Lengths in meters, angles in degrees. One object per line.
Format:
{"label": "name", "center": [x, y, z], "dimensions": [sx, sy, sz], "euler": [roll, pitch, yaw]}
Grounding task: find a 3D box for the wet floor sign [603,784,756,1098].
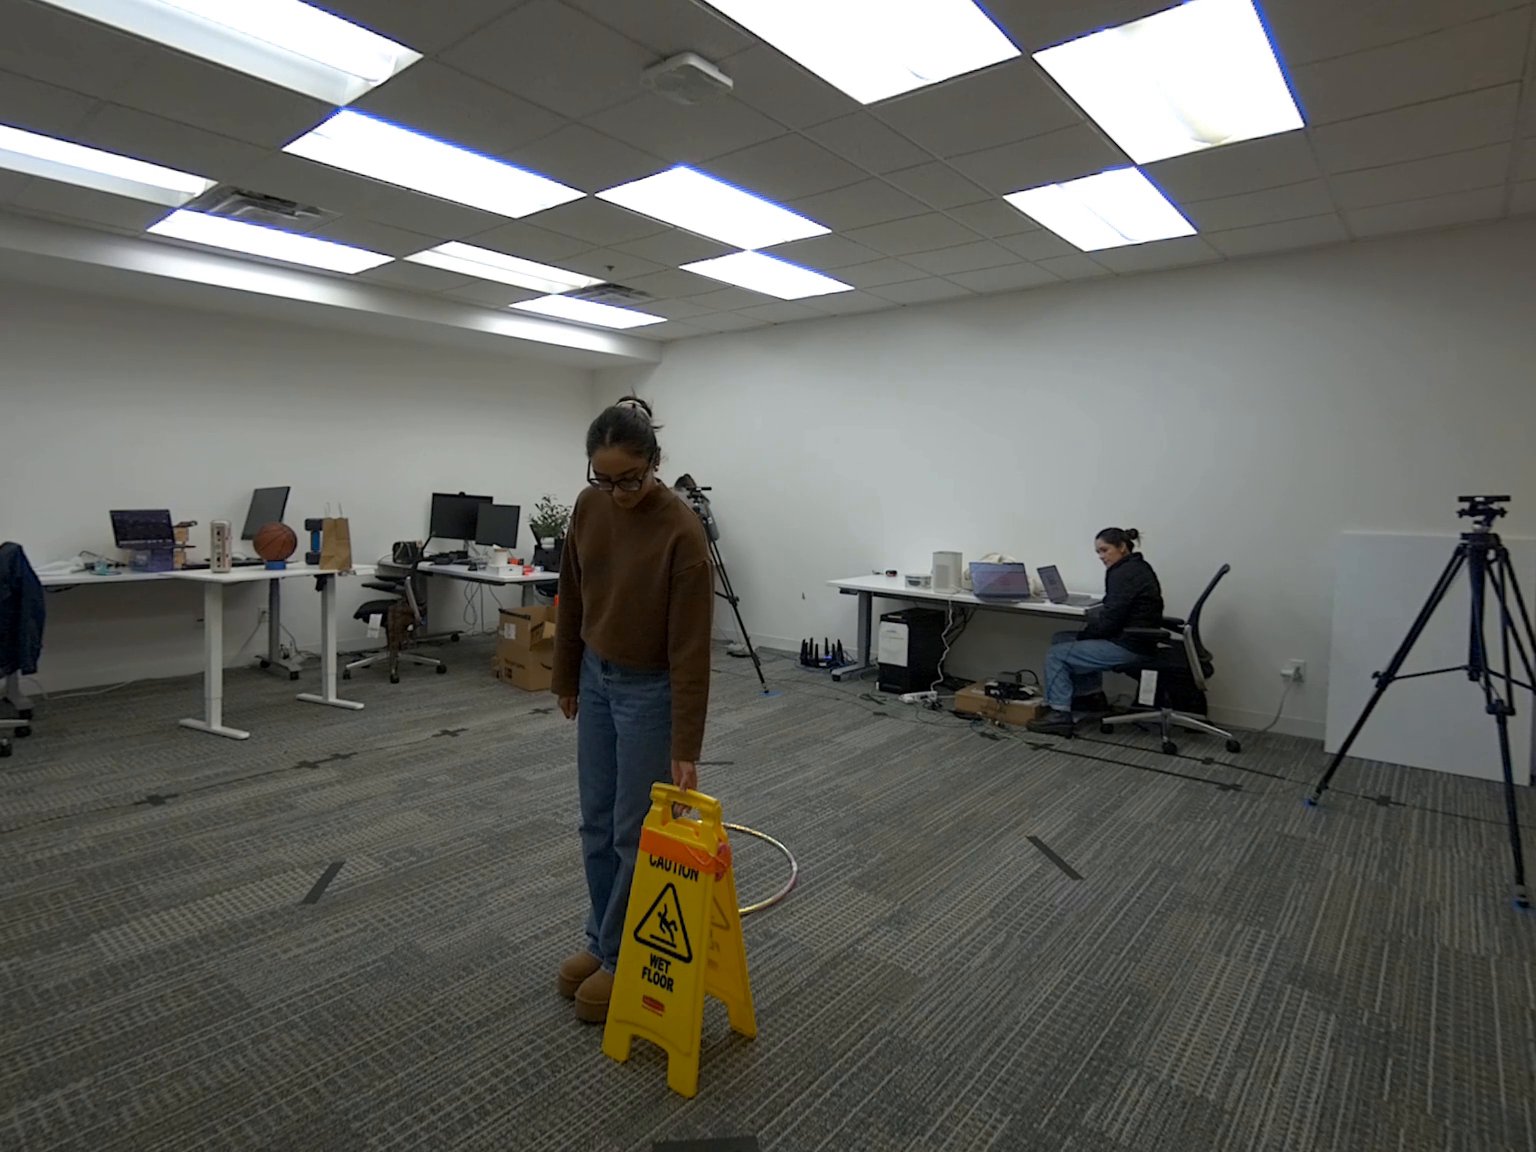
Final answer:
{"label": "wet floor sign", "center": [-0.213, 0.844, 2.100], "dimensions": [0.291, 0.644, 0.282], "euler": [3, 4, 33]}
